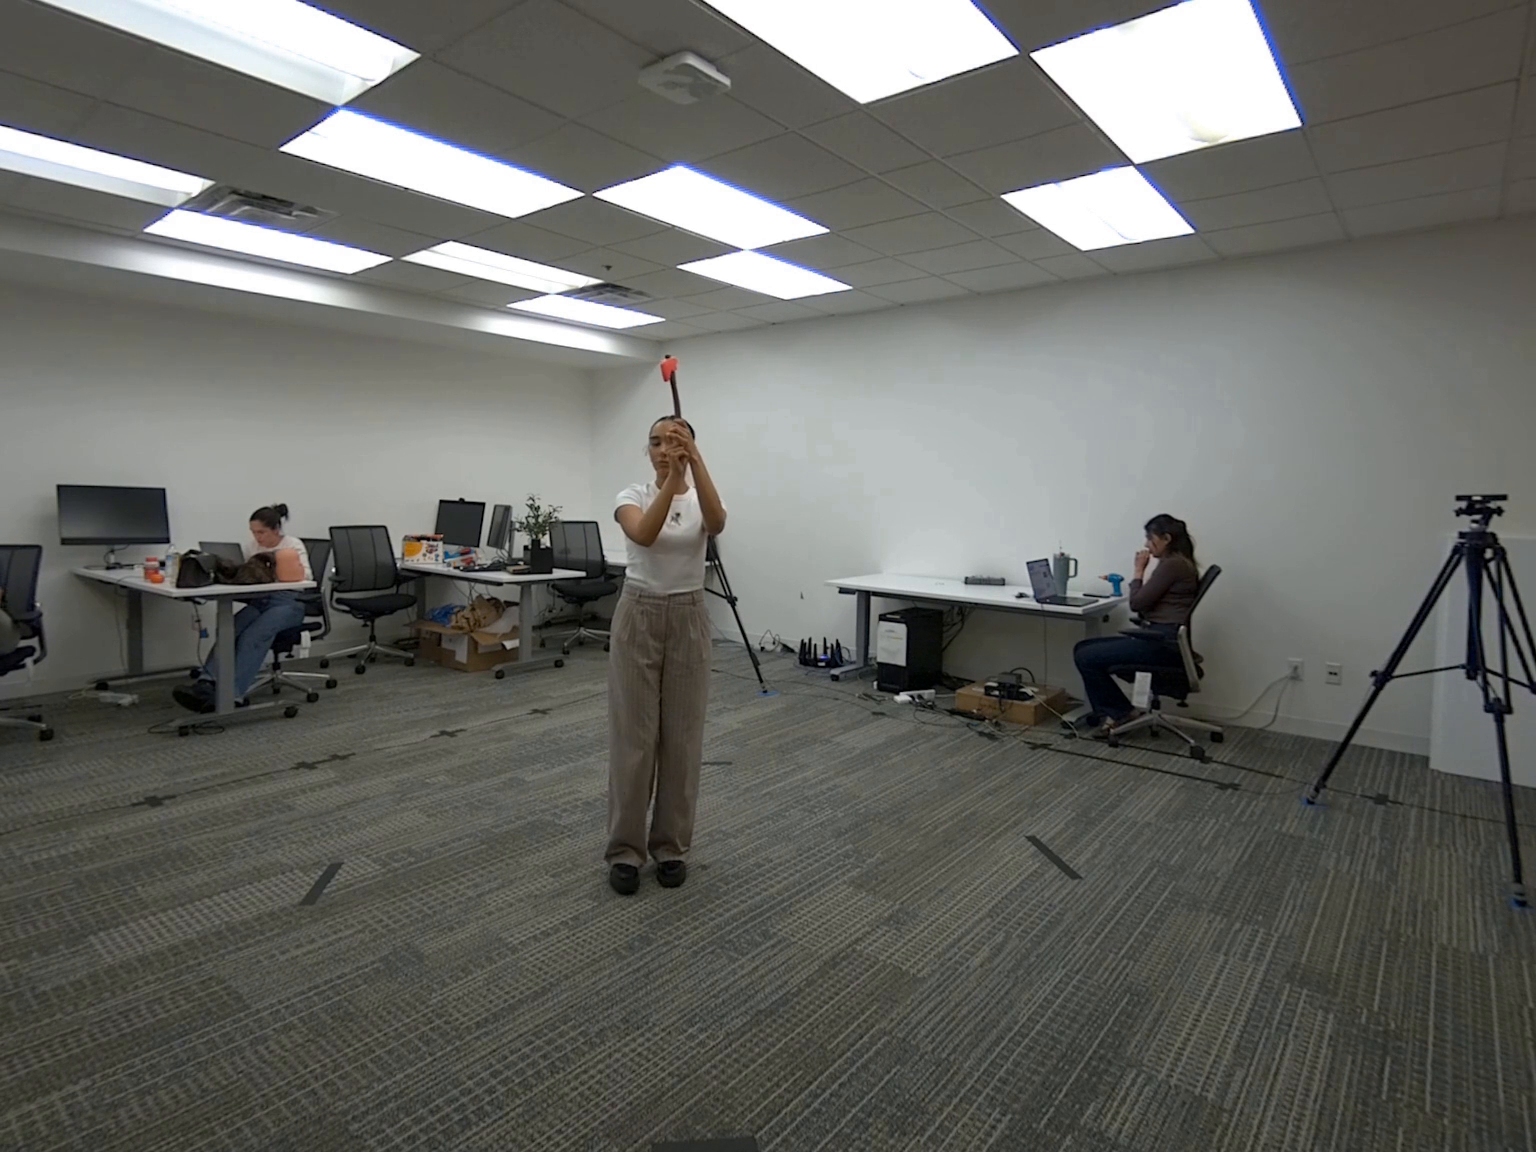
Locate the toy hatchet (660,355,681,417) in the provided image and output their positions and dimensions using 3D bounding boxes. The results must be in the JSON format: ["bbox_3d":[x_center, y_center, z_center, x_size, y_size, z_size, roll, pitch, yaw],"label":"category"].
[{"bbox_3d":[-0.319,-0.579,2.717,0.030,0.271,0.129,-5,-2,15],"label":"toy hatchet"}]
